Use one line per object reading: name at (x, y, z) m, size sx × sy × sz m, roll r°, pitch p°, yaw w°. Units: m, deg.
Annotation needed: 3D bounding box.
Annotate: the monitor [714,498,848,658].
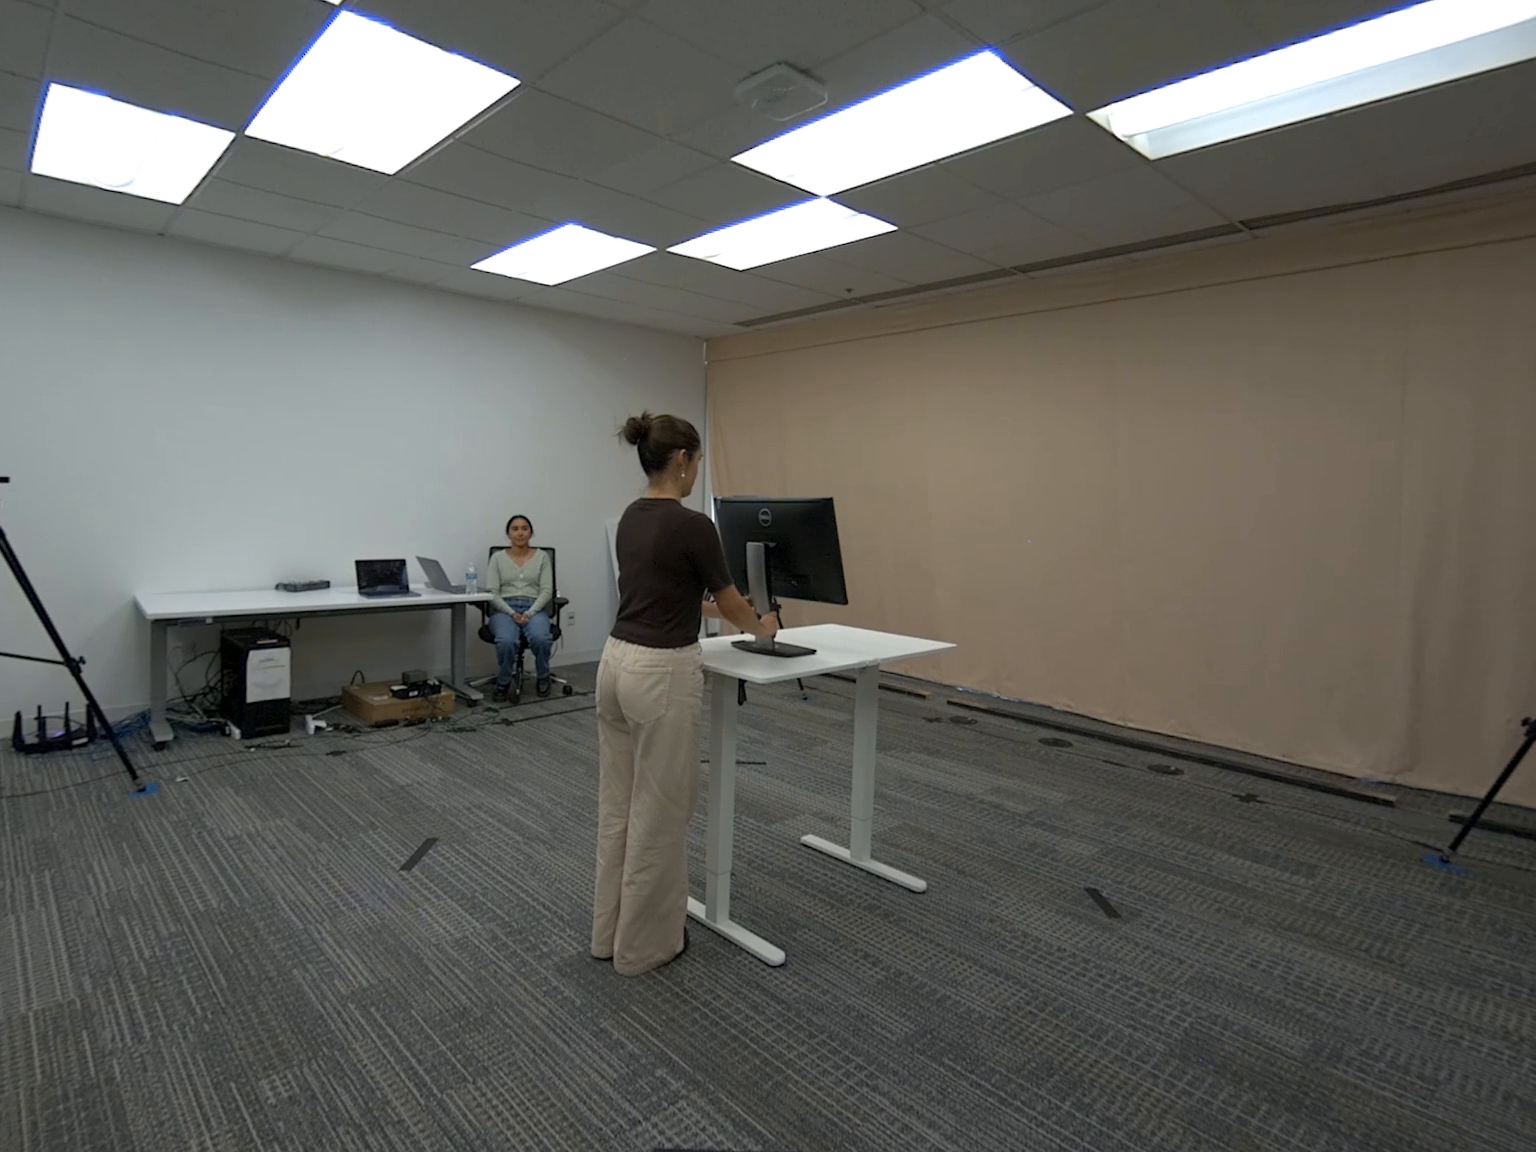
monitor at (0.017, -0.007, 2.812) m, size 0.170 × 0.516 × 0.543 m, roll 4°, pitch 0°, yaw -44°
